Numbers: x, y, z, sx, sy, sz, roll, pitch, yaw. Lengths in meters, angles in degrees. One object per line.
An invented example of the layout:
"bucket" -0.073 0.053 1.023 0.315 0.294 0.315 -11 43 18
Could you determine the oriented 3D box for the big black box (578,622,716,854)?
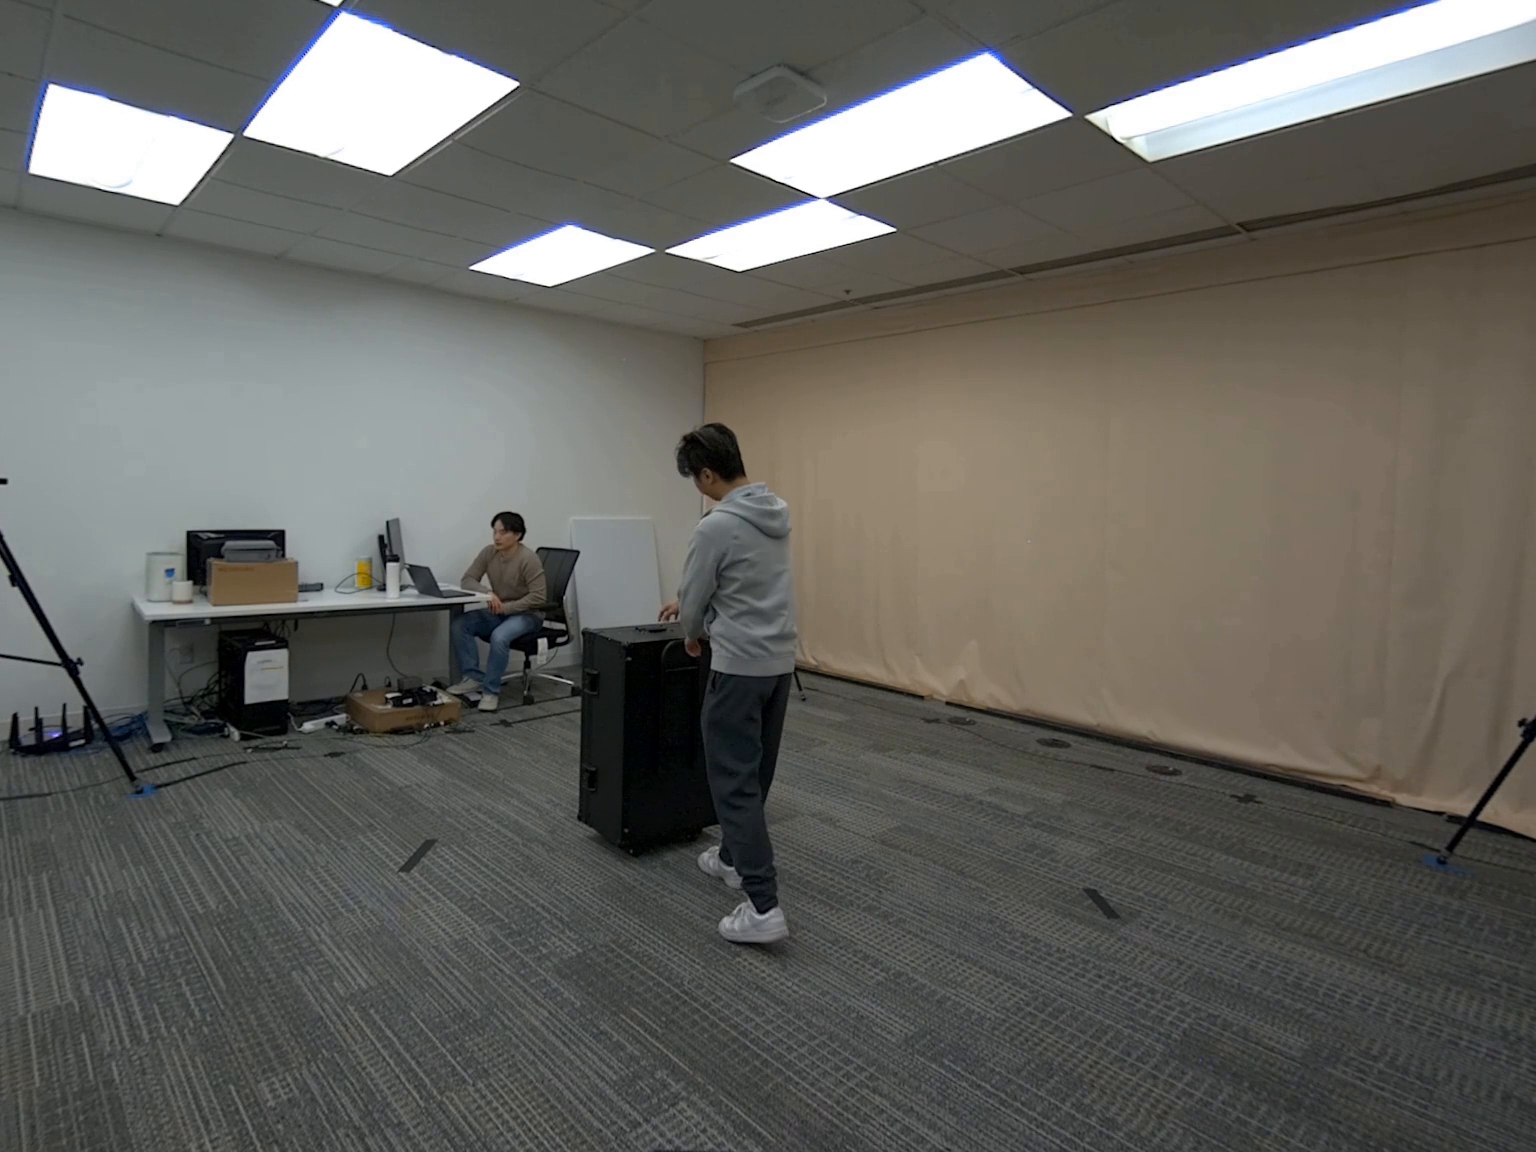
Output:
"big black box" -0.460 0.650 3.408 0.509 0.859 0.406 -1 5 -38
